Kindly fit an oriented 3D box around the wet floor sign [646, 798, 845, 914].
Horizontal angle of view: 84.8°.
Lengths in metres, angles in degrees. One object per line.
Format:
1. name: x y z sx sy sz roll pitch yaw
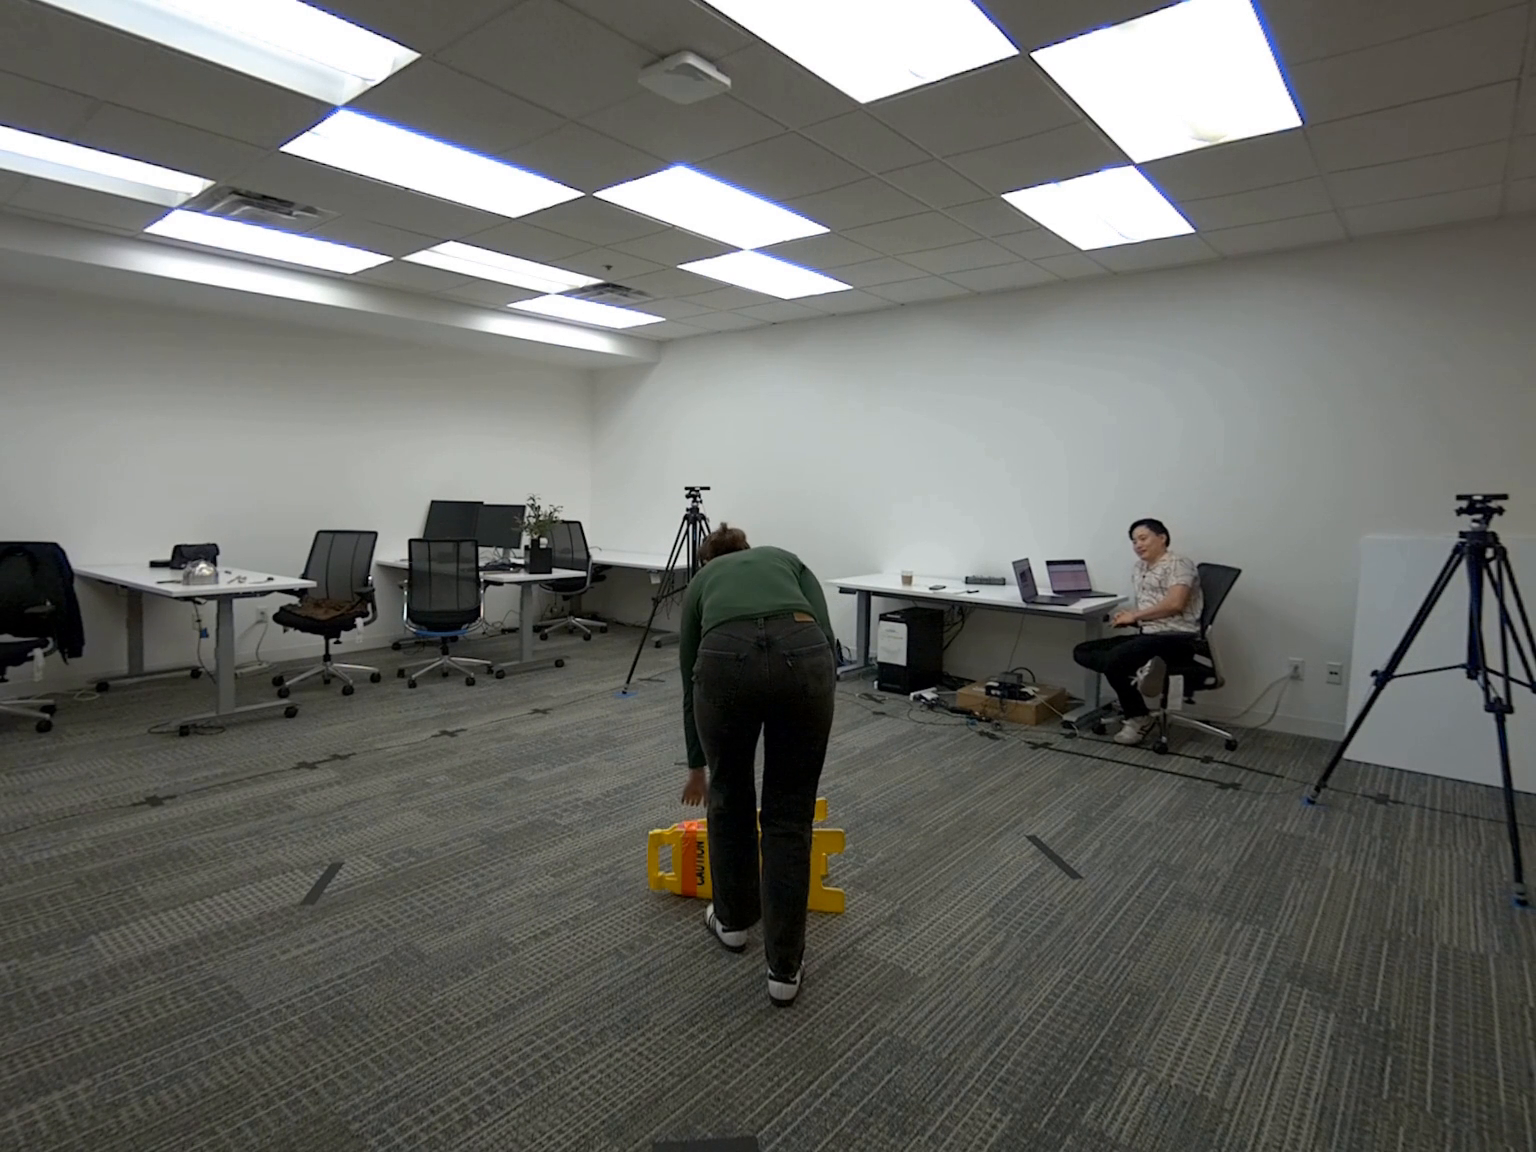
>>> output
1. wet floor sign: -0.101 0.954 2.908 0.643 0.281 0.292 -2 5 -5
